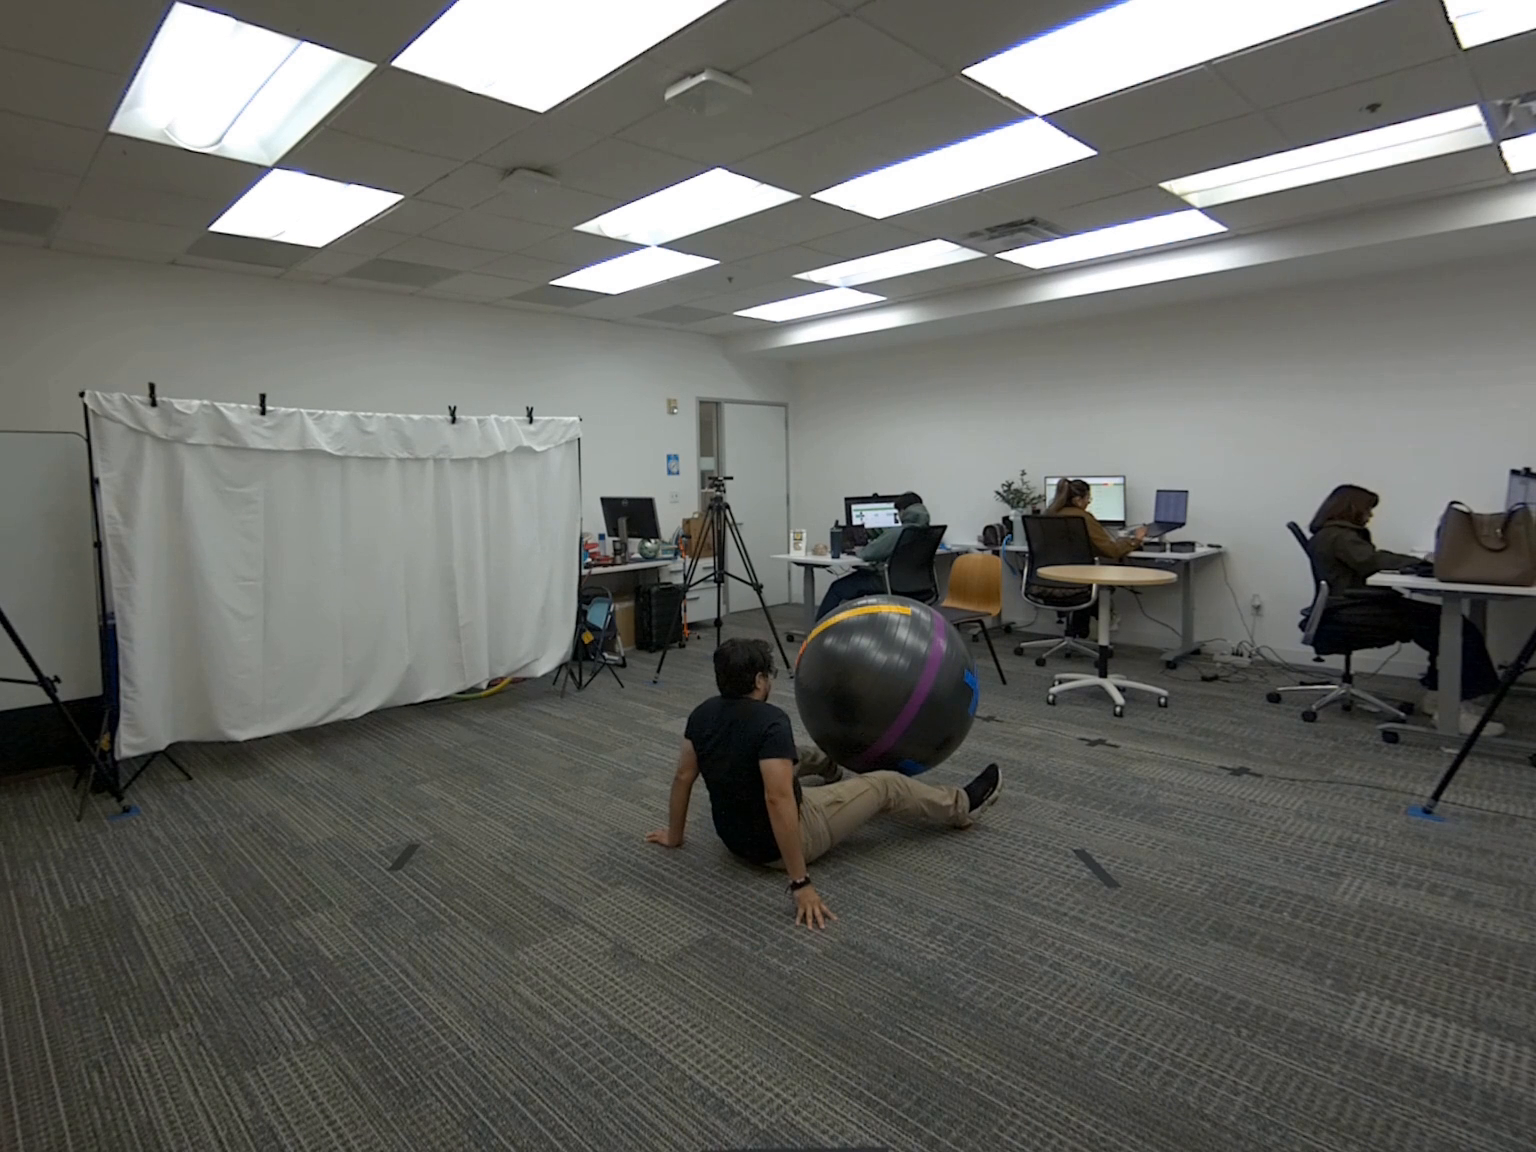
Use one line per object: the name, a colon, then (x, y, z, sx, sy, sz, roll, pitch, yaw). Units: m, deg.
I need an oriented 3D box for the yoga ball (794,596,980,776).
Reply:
yoga ball: (0.492, 0.463, 3.590, 0.757, 0.755, 0.762, -1, 5, -2)
